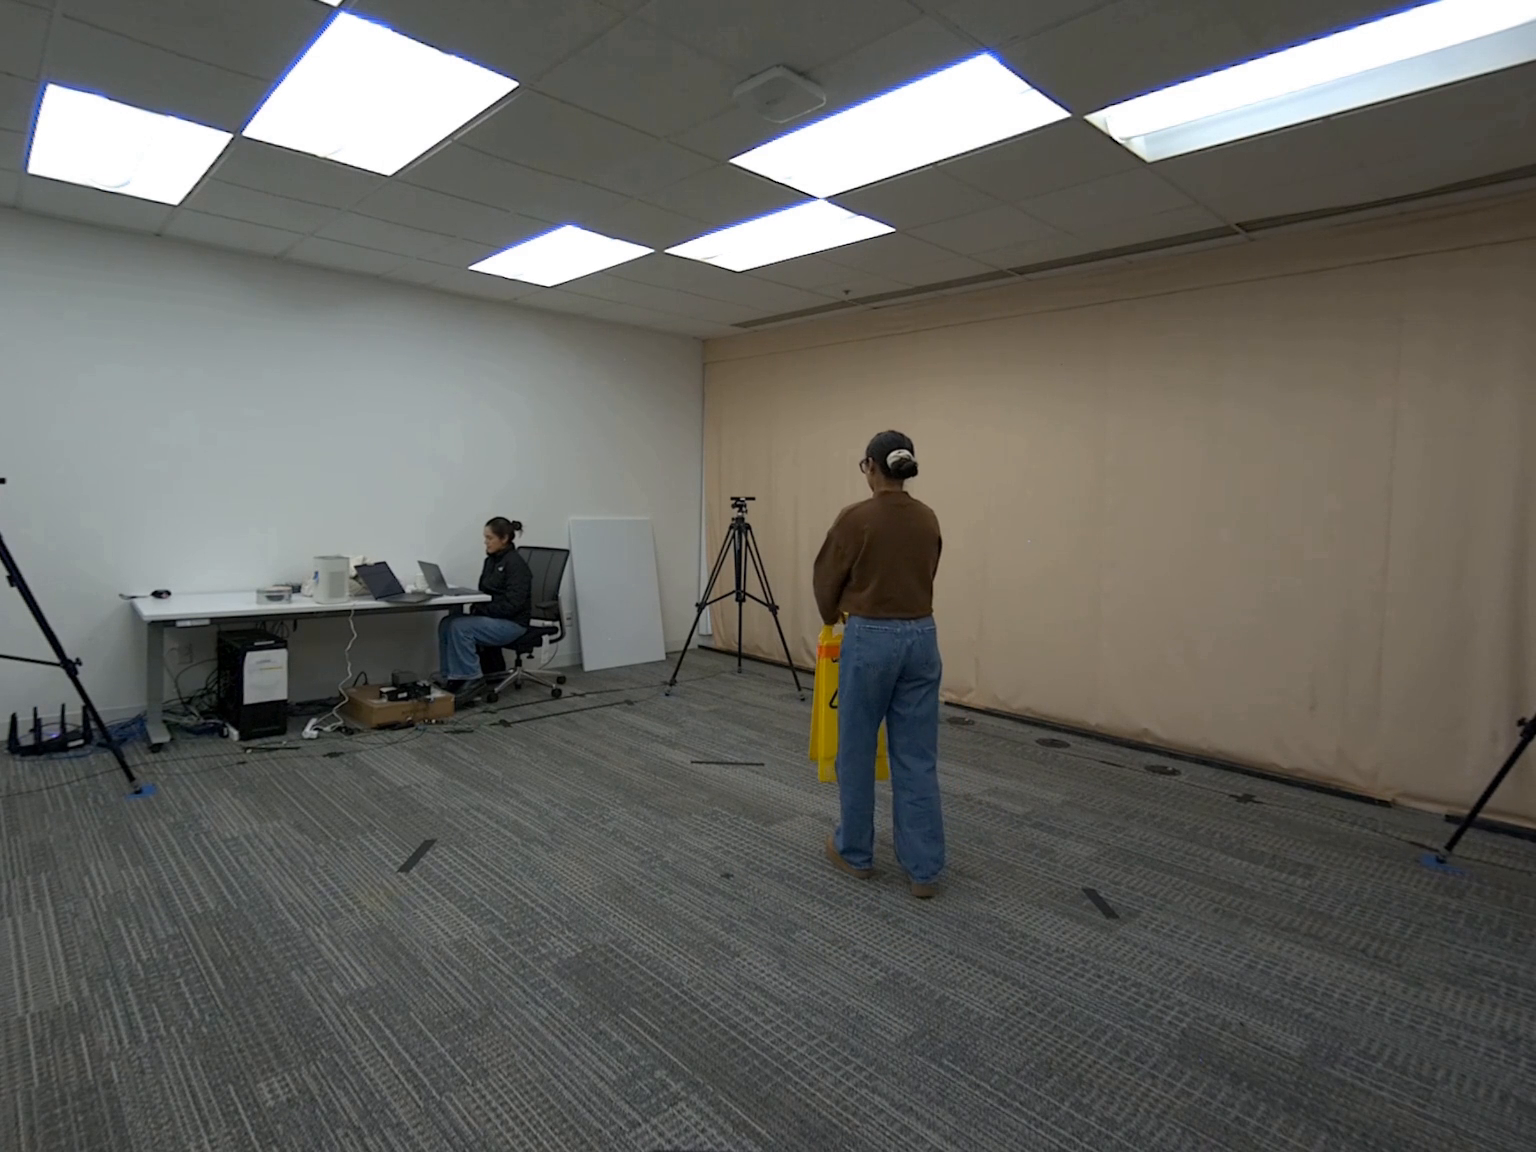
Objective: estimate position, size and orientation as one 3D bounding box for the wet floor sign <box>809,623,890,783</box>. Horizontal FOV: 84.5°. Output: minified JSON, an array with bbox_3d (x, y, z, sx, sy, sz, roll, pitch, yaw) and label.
[{"bbox_3d":[0.325,0.487,3.460,0.281,0.645,0.291,0,3,-5],"label":"wet floor sign"}]
